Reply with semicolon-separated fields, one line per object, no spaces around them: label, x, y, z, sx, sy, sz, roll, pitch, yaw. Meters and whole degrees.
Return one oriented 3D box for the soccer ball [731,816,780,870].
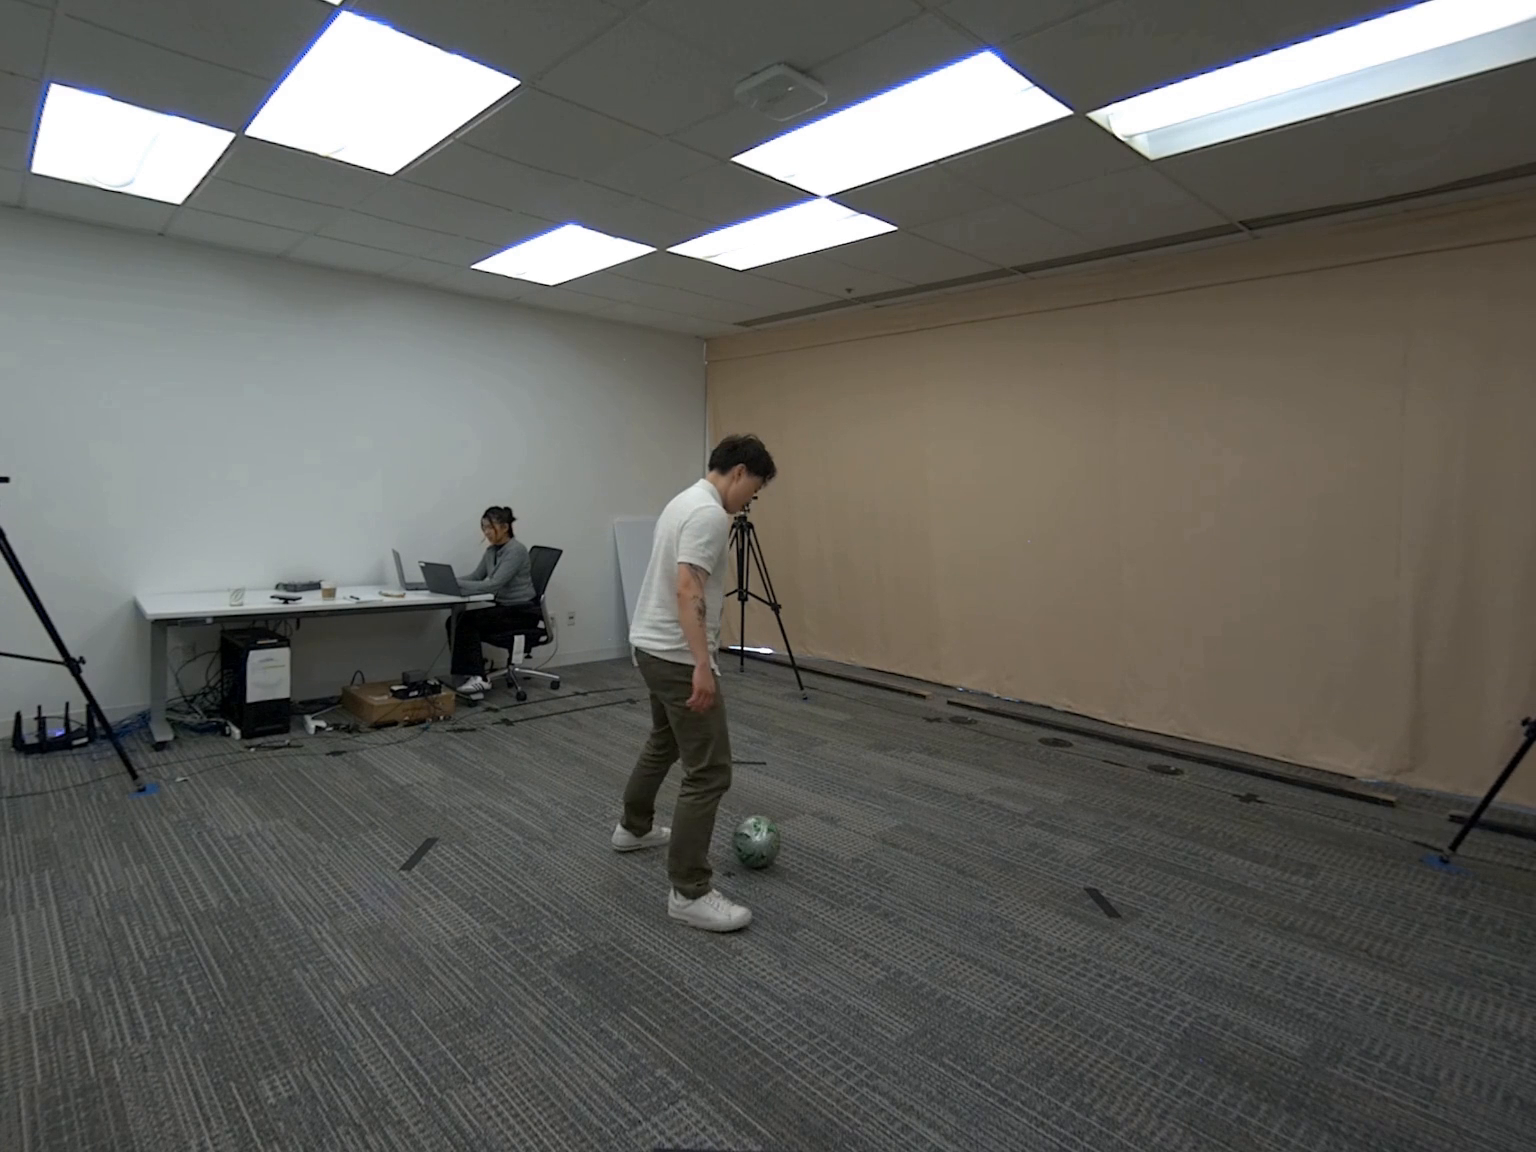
soccer ball;-0.059;1.001;3.179;0.187;0.187;0.188;1;4;-1
